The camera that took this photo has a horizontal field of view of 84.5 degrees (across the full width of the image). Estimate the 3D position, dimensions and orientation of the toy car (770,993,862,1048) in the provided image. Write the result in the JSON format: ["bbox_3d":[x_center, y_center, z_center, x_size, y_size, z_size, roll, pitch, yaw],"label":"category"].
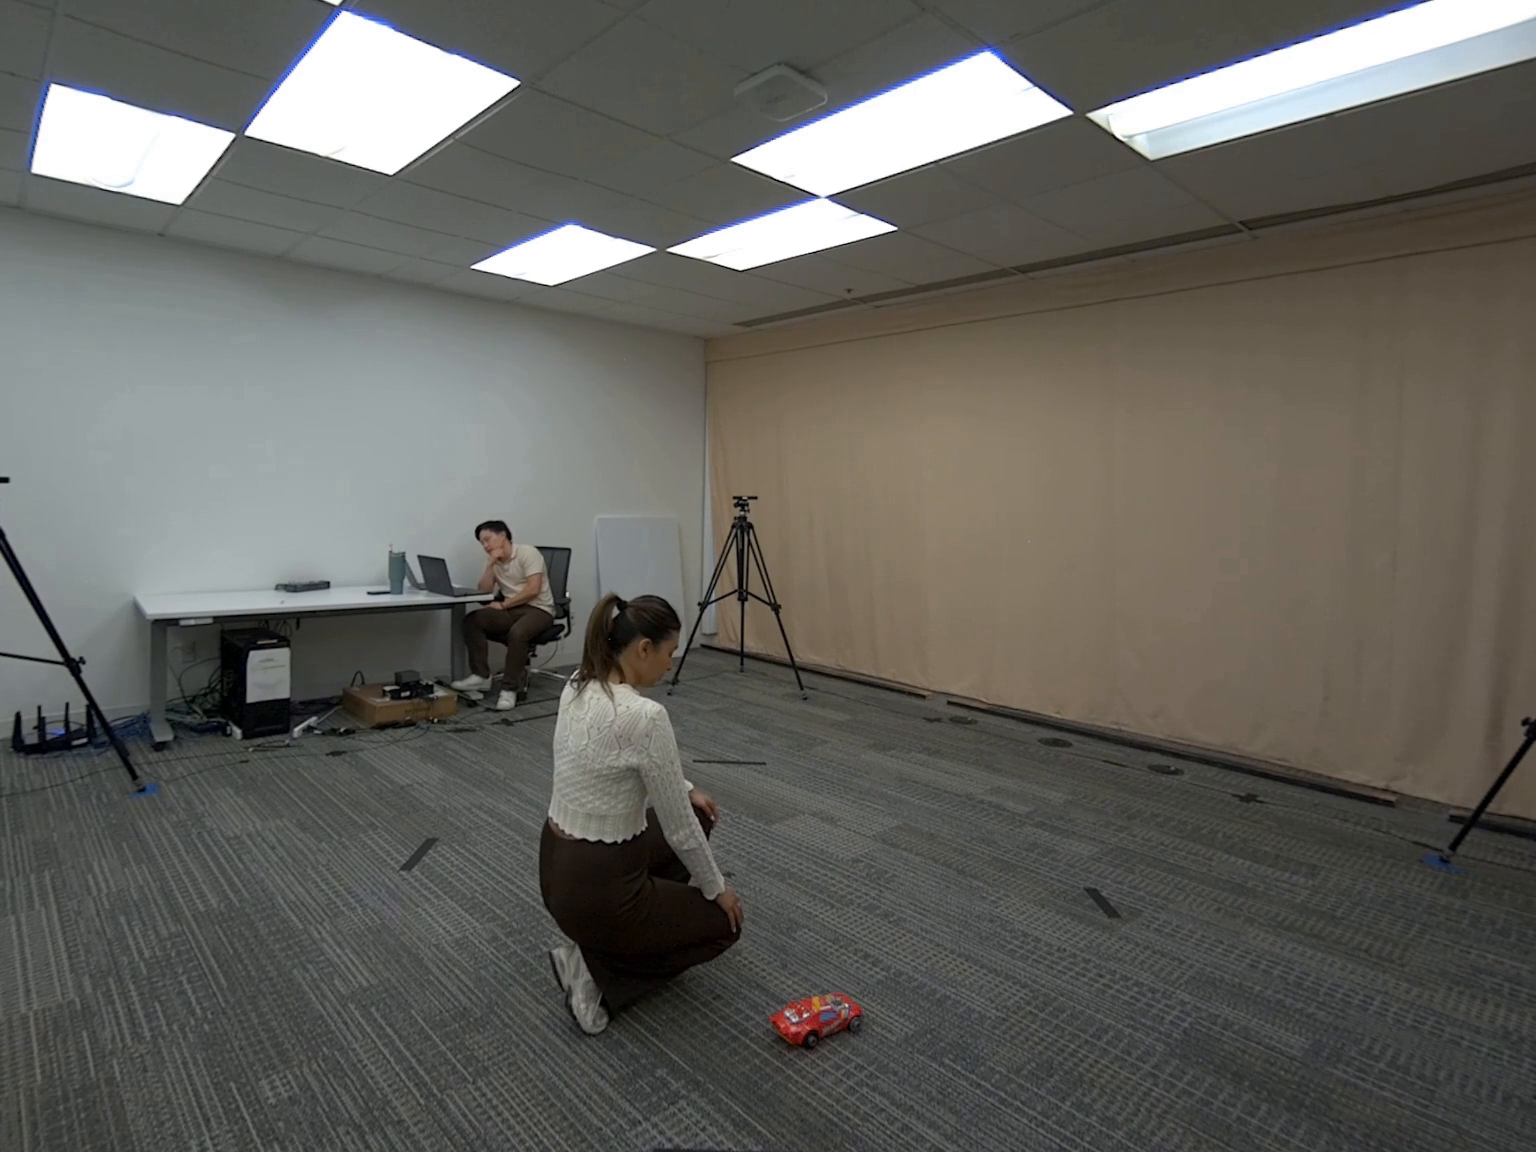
[{"bbox_3d":[0.118,1.165,2.193,0.248,0.083,0.133,12,0,-32],"label":"toy car"}]
